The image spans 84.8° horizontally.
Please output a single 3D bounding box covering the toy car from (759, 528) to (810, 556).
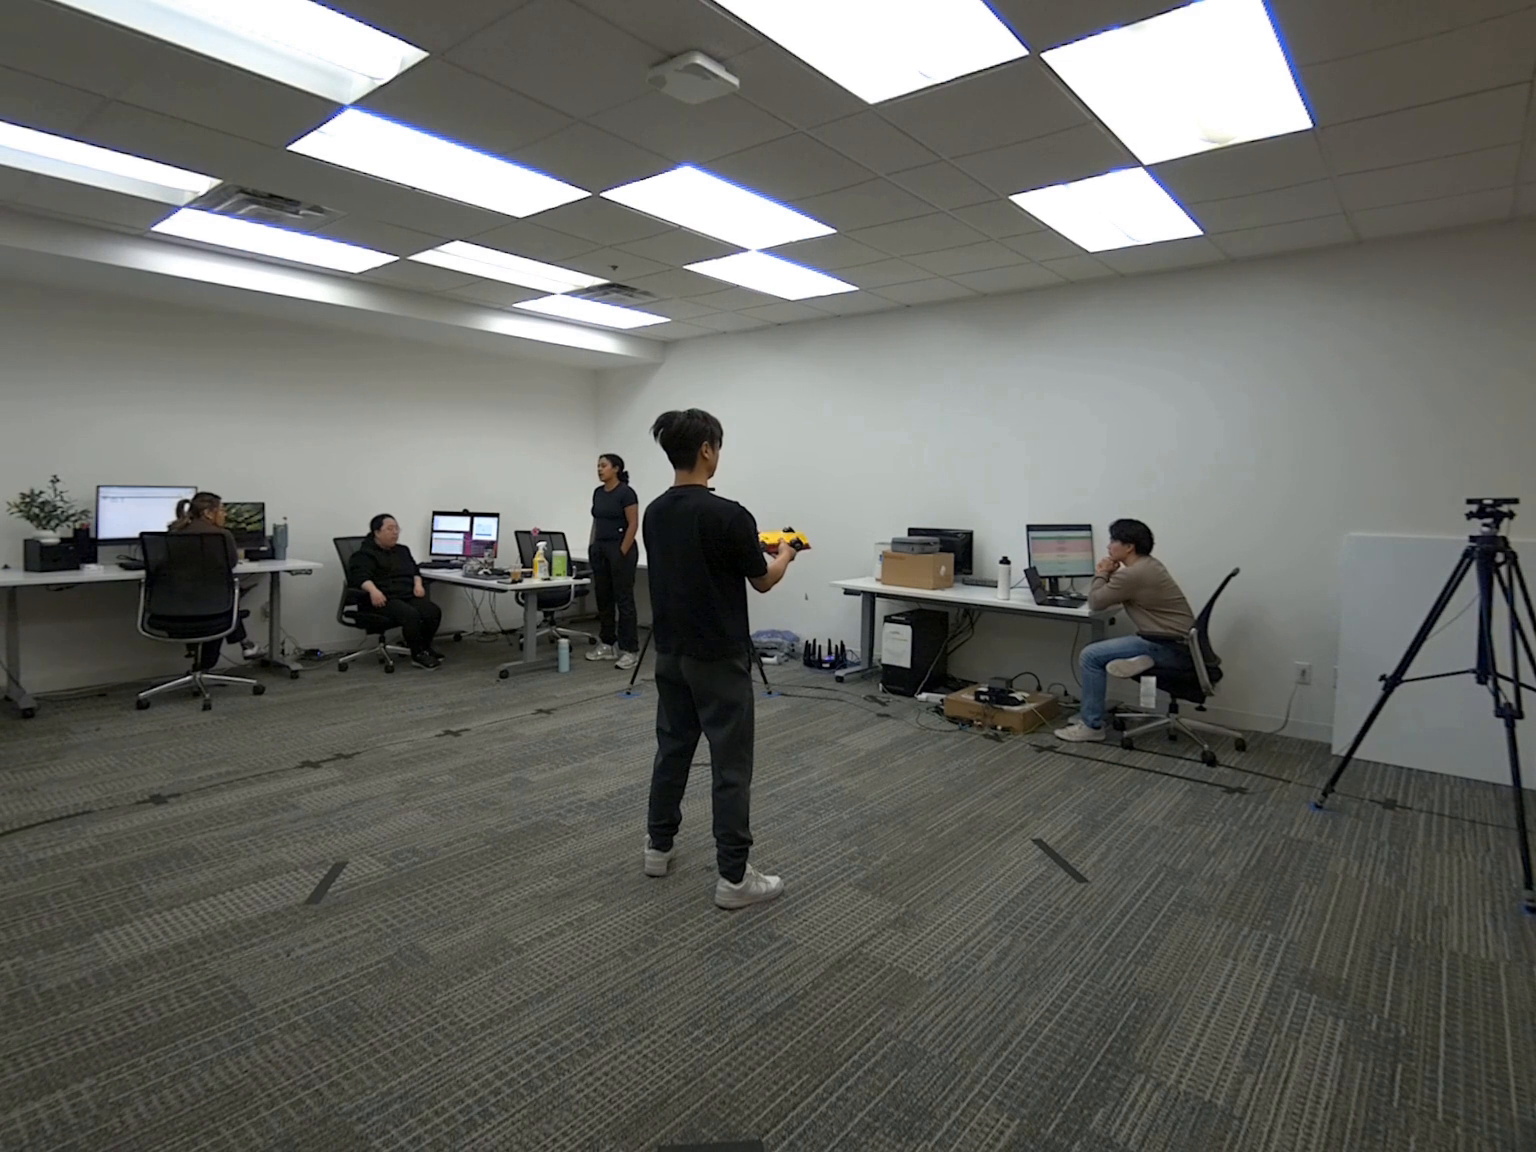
[{"bbox_3d":[0.031,-0.134,3.277,0.249,0.082,0.135,5,28,-21],"label":"toy car"}]
